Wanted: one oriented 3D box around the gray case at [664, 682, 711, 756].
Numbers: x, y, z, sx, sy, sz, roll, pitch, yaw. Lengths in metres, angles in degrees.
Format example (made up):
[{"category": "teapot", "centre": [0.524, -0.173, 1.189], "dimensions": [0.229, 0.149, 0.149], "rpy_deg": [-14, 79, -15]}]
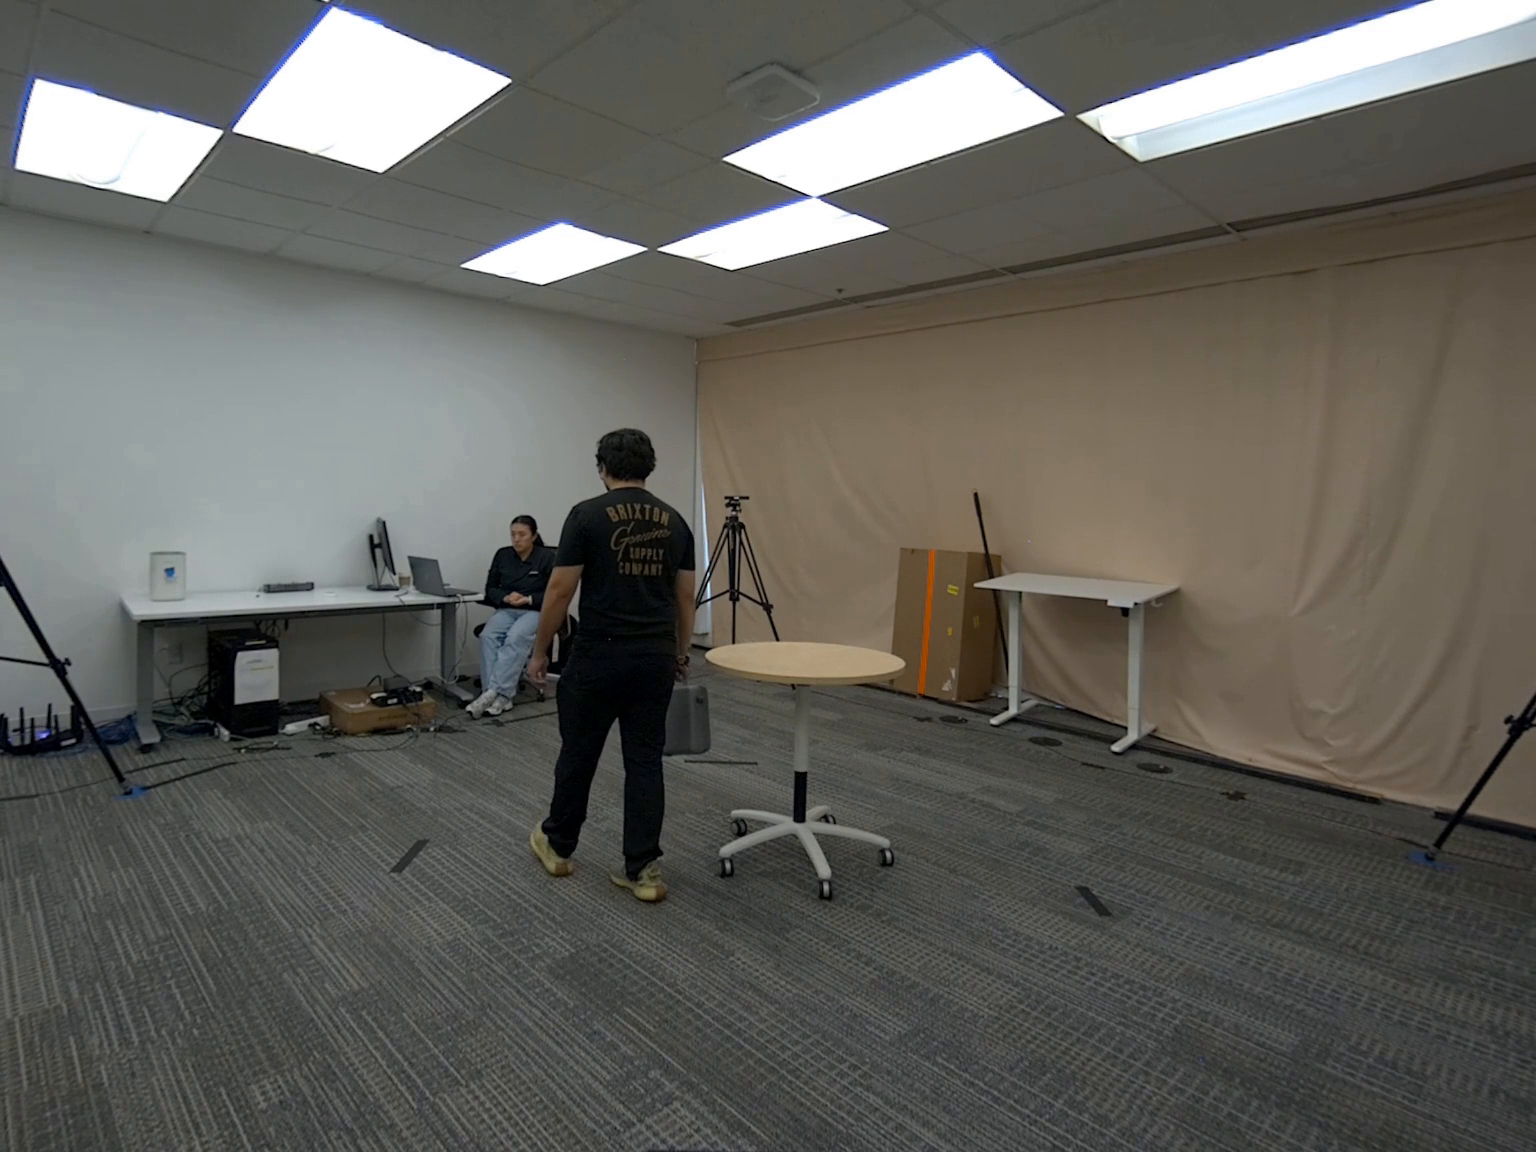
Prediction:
[{"category": "gray case", "centre": [-0.351, 0.546, 3.214], "dimensions": [0.261, 0.263, 0.101], "rpy_deg": [-14, -16, 43]}]
